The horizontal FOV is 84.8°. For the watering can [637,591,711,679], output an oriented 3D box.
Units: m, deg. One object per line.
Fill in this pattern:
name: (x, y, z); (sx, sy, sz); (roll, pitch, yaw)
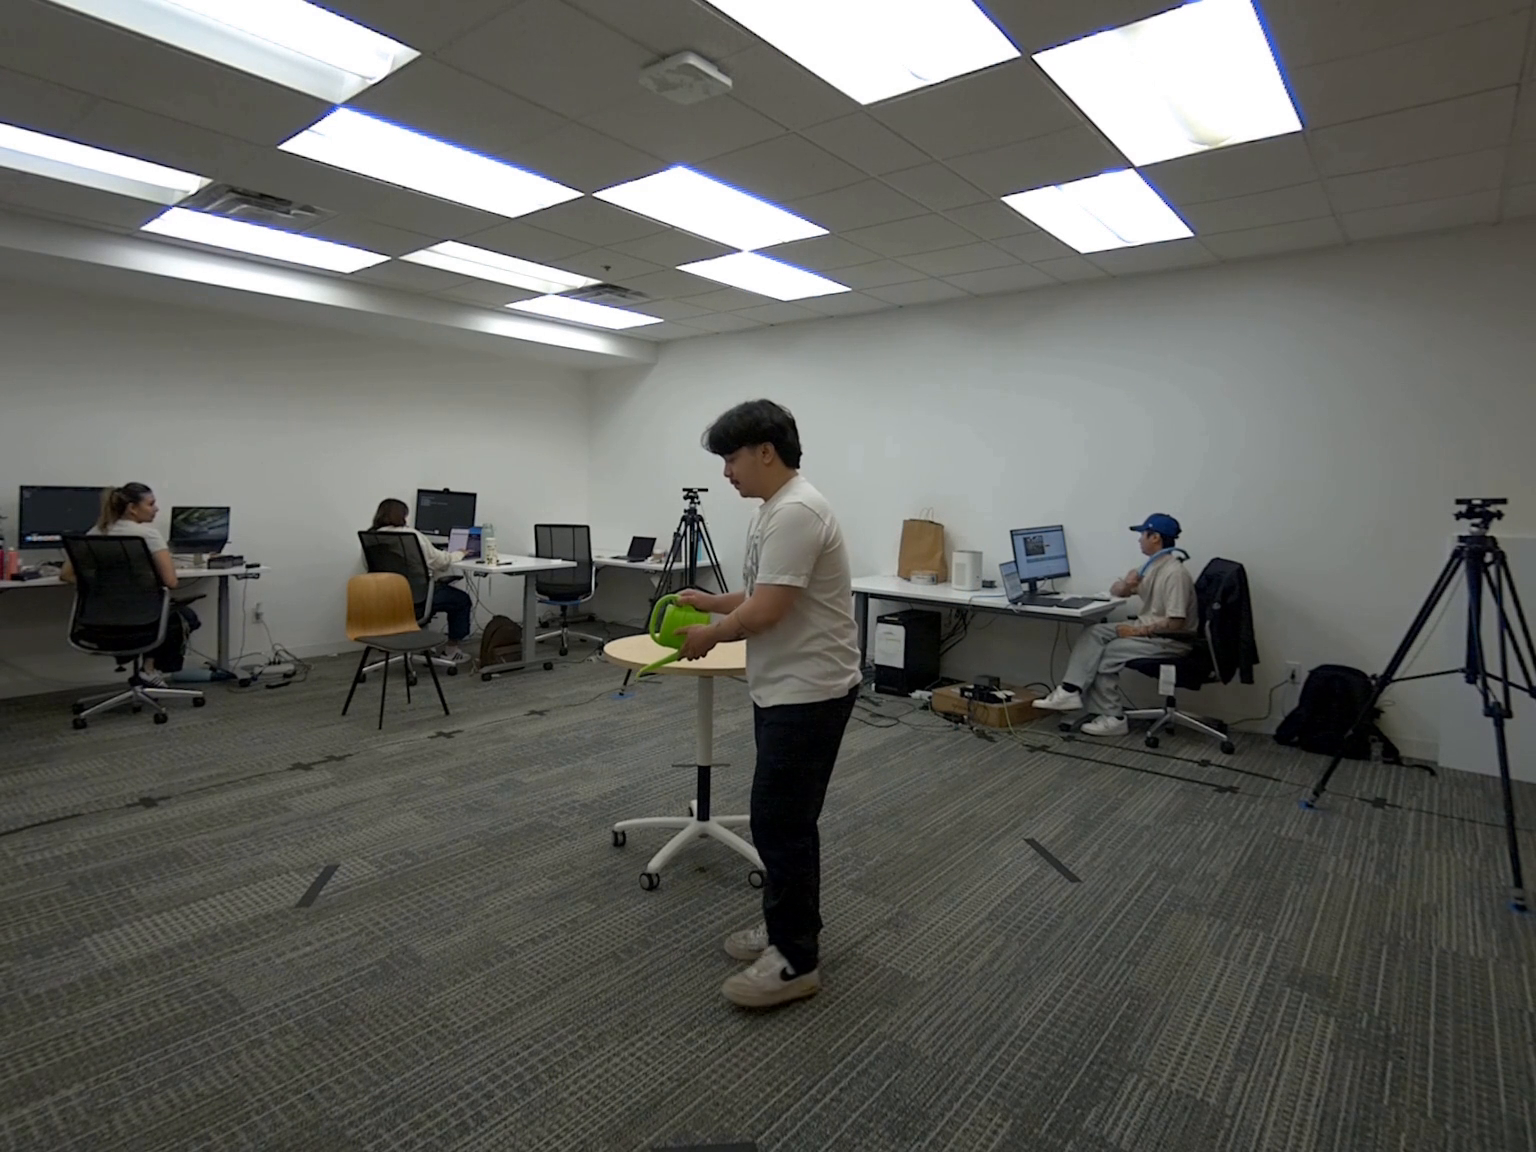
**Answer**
watering can: (-0.293, 0.198, 2.598); (0.177, 0.276, 0.099); (15, 12, 0)
